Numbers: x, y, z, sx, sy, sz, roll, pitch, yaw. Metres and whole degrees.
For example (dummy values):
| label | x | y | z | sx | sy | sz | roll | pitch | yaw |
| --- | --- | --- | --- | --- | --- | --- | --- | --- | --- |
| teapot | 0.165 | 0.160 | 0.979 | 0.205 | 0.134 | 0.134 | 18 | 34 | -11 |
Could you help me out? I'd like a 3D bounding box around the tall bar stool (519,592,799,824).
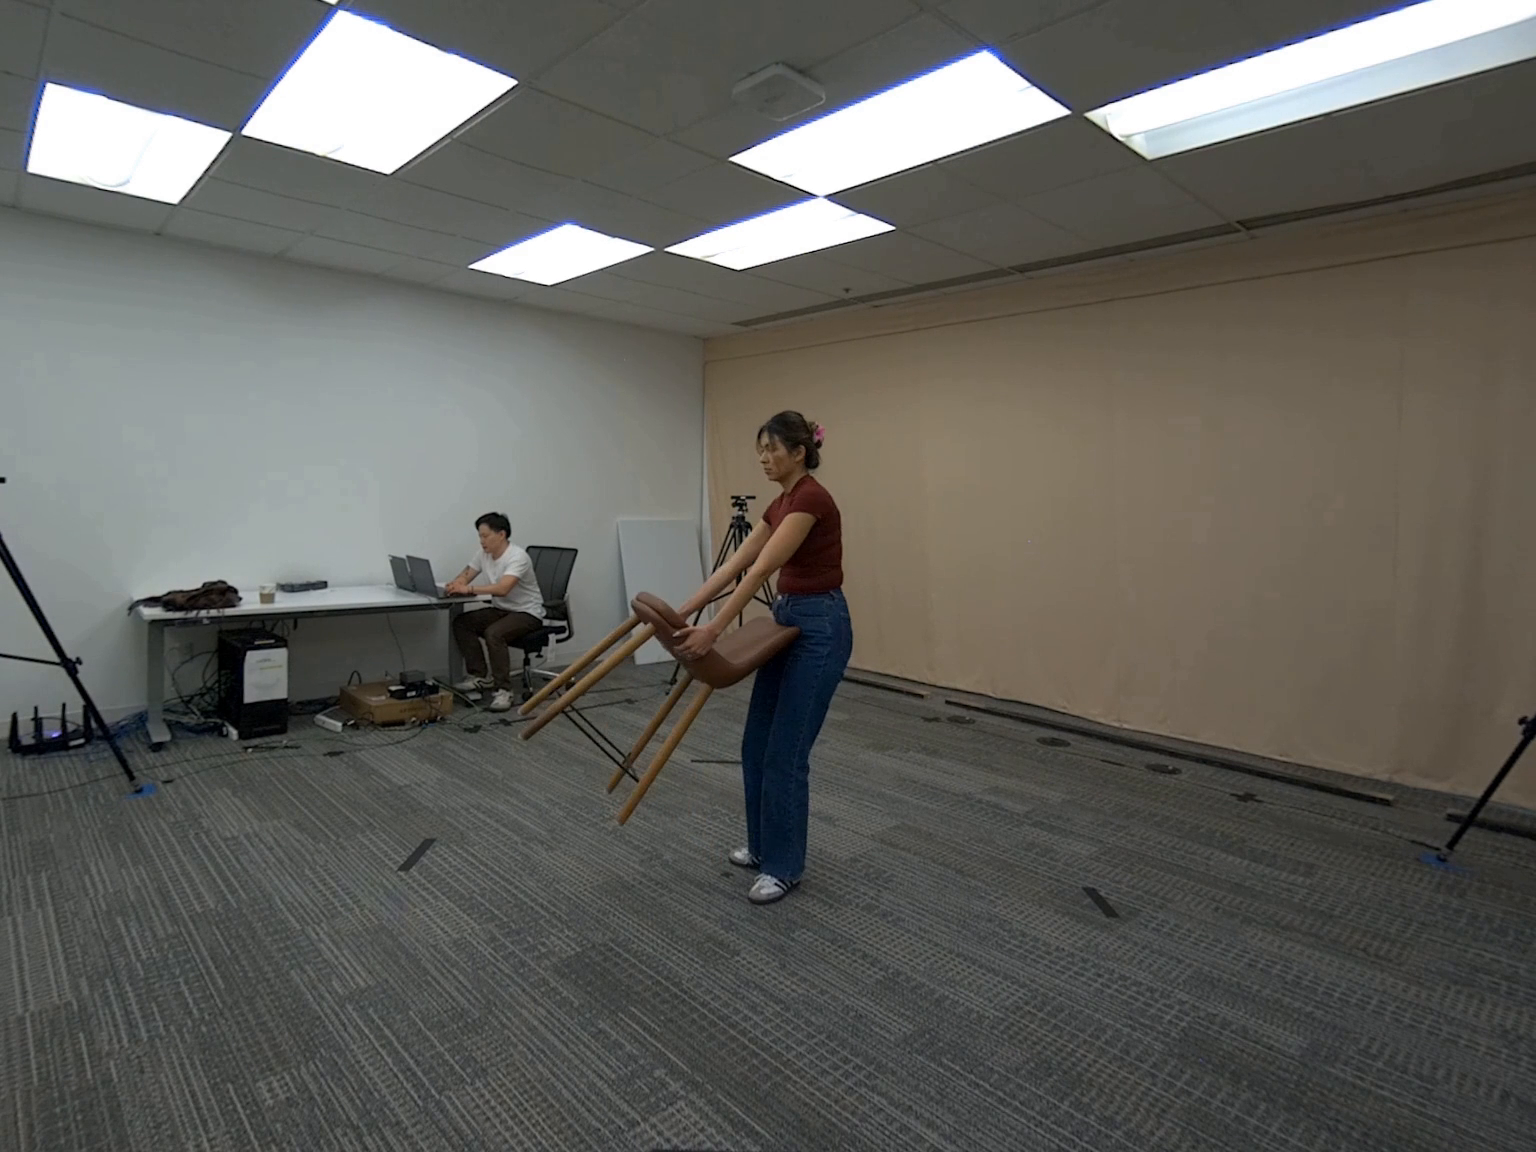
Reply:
| label | x | y | z | sx | sy | sz | roll | pitch | yaw |
| --- | --- | --- | --- | --- | --- | --- | --- | --- | --- |
| tall bar stool | -0.383 | 0.339 | 2.900 | 0.889 | 0.462 | 0.462 | -45 | 12 | -10 |
